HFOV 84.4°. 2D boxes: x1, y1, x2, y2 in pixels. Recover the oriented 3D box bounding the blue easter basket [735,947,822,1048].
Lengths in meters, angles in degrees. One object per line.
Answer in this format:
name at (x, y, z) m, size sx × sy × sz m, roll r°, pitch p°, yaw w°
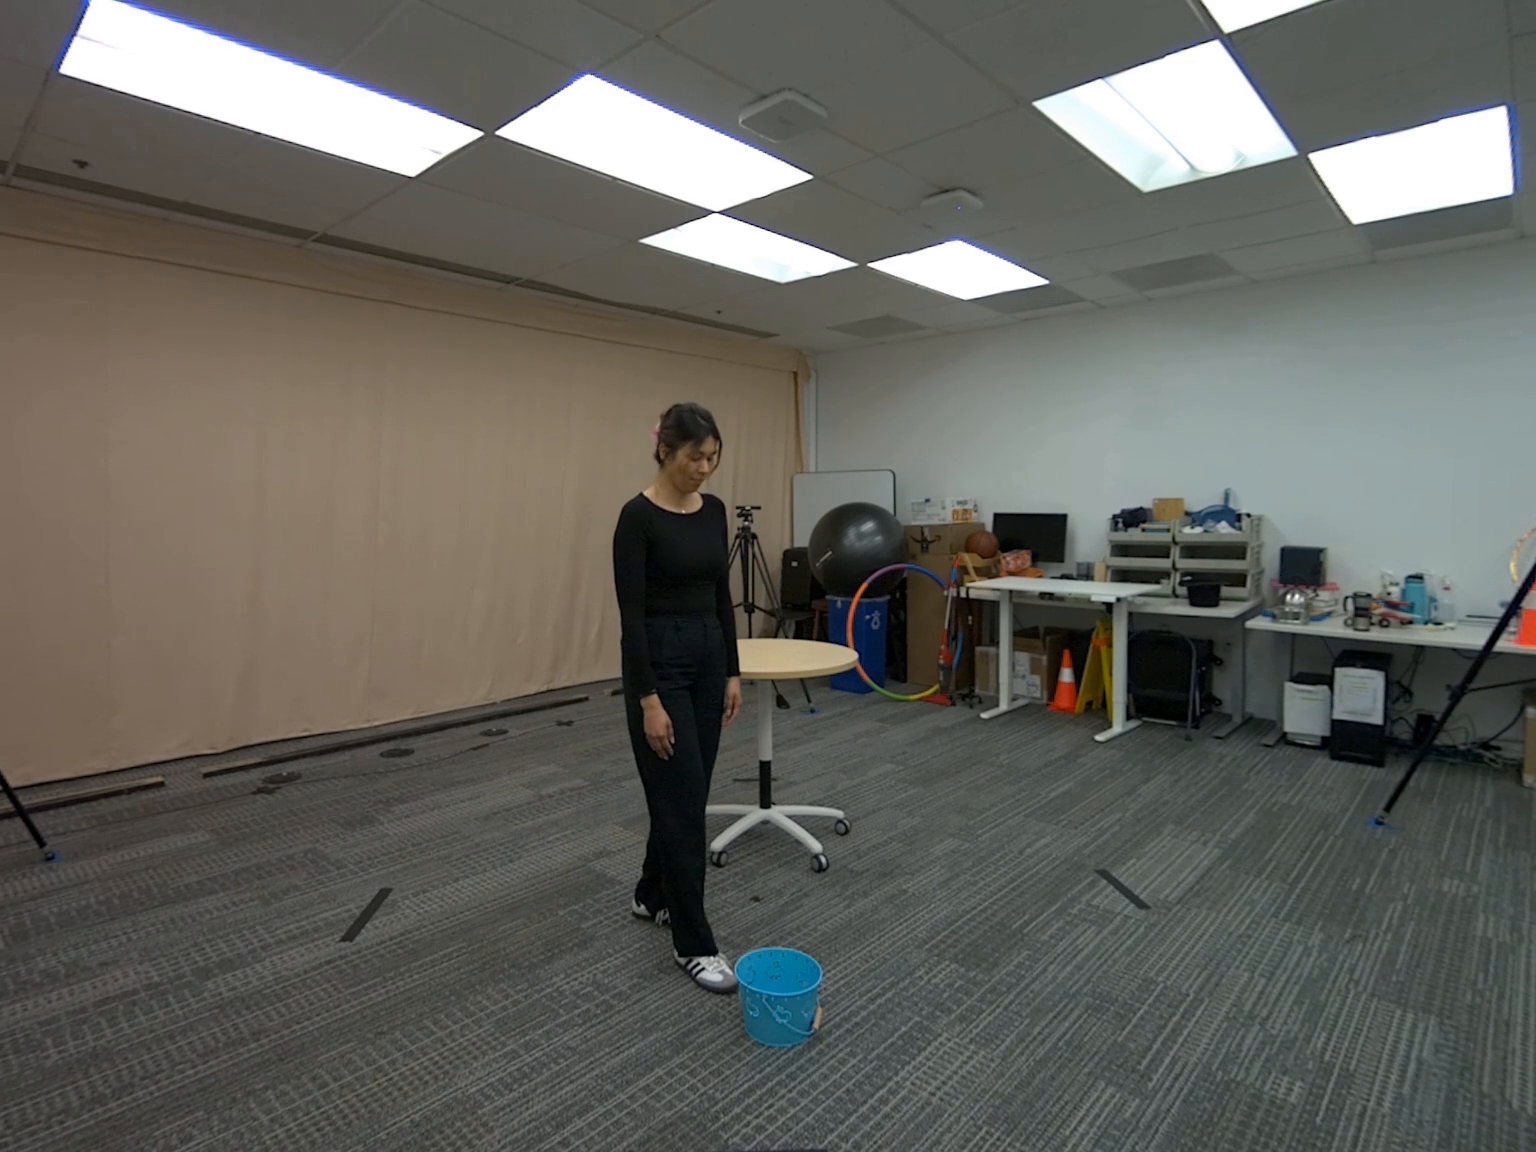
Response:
blue easter basket at (0.034, 1.128, 2.249) m, size 0.243 × 0.155 × 0.244 m, roll 0°, pitch 4°, yaw -2°
